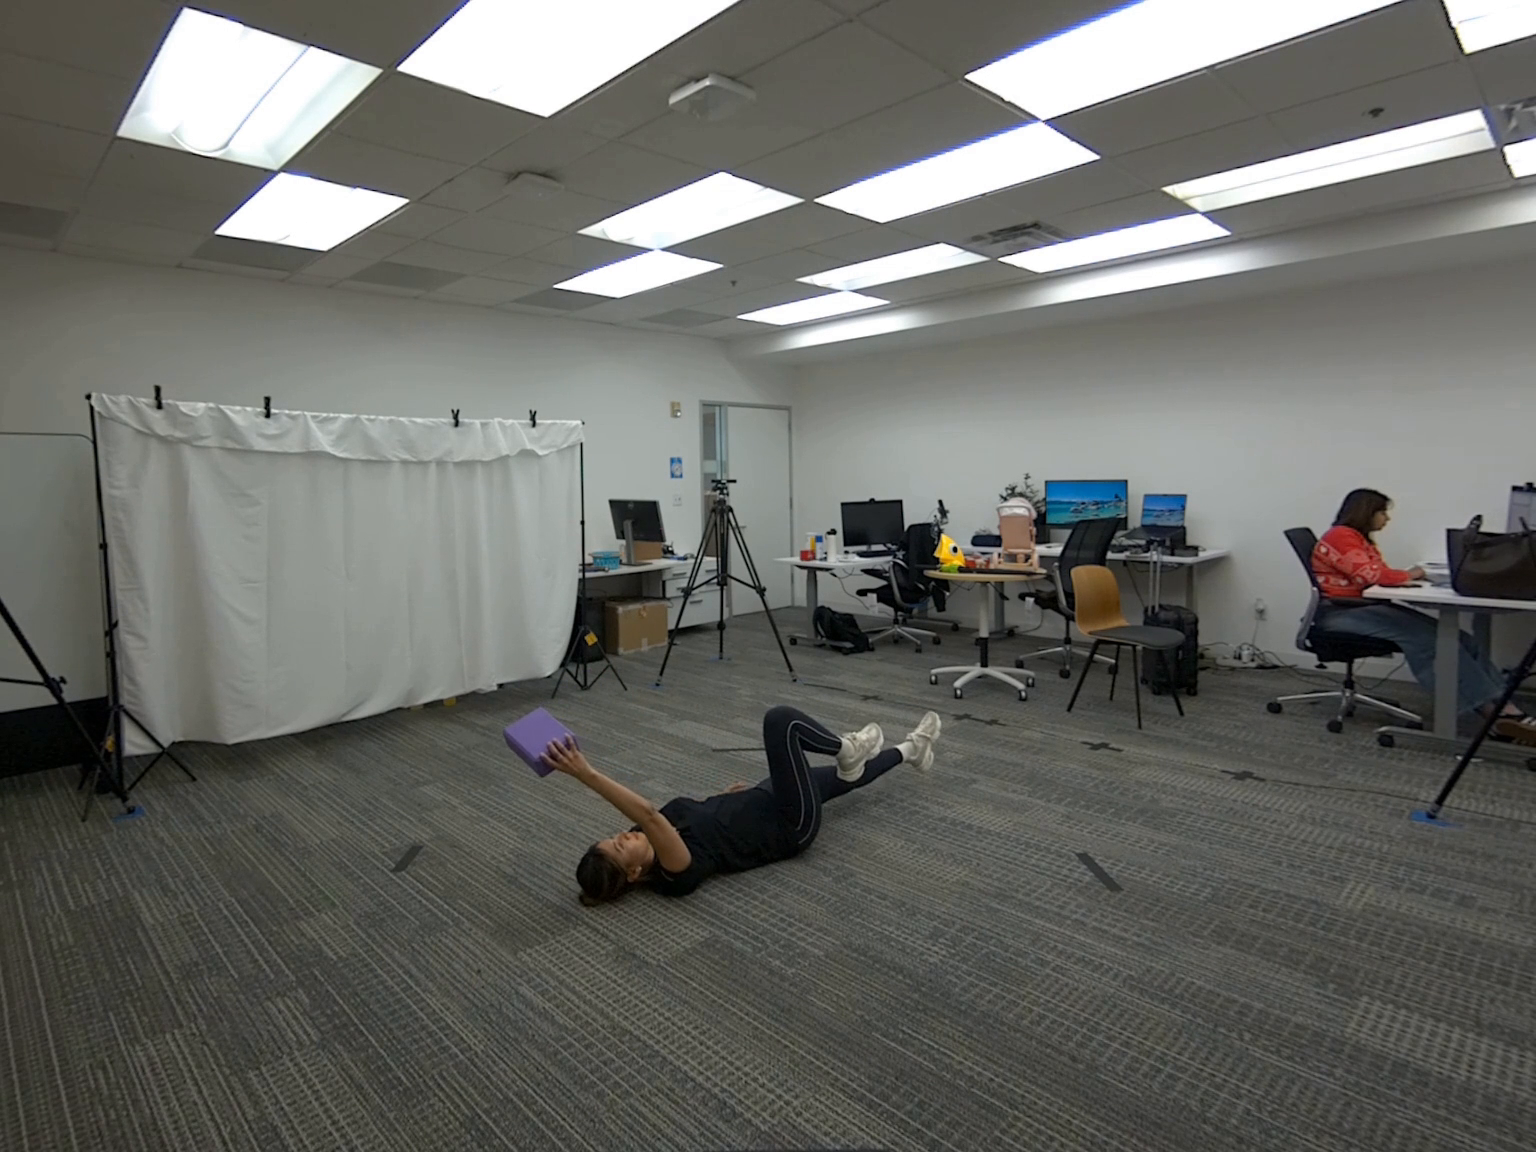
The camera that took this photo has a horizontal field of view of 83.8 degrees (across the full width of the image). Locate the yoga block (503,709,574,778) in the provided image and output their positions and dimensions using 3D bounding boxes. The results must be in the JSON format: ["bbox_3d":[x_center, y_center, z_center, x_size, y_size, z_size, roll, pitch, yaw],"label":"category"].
[{"bbox_3d":[-0.705,0.512,2.695,0.147,0.074,0.238,-26,33,-24],"label":"yoga block"}]
